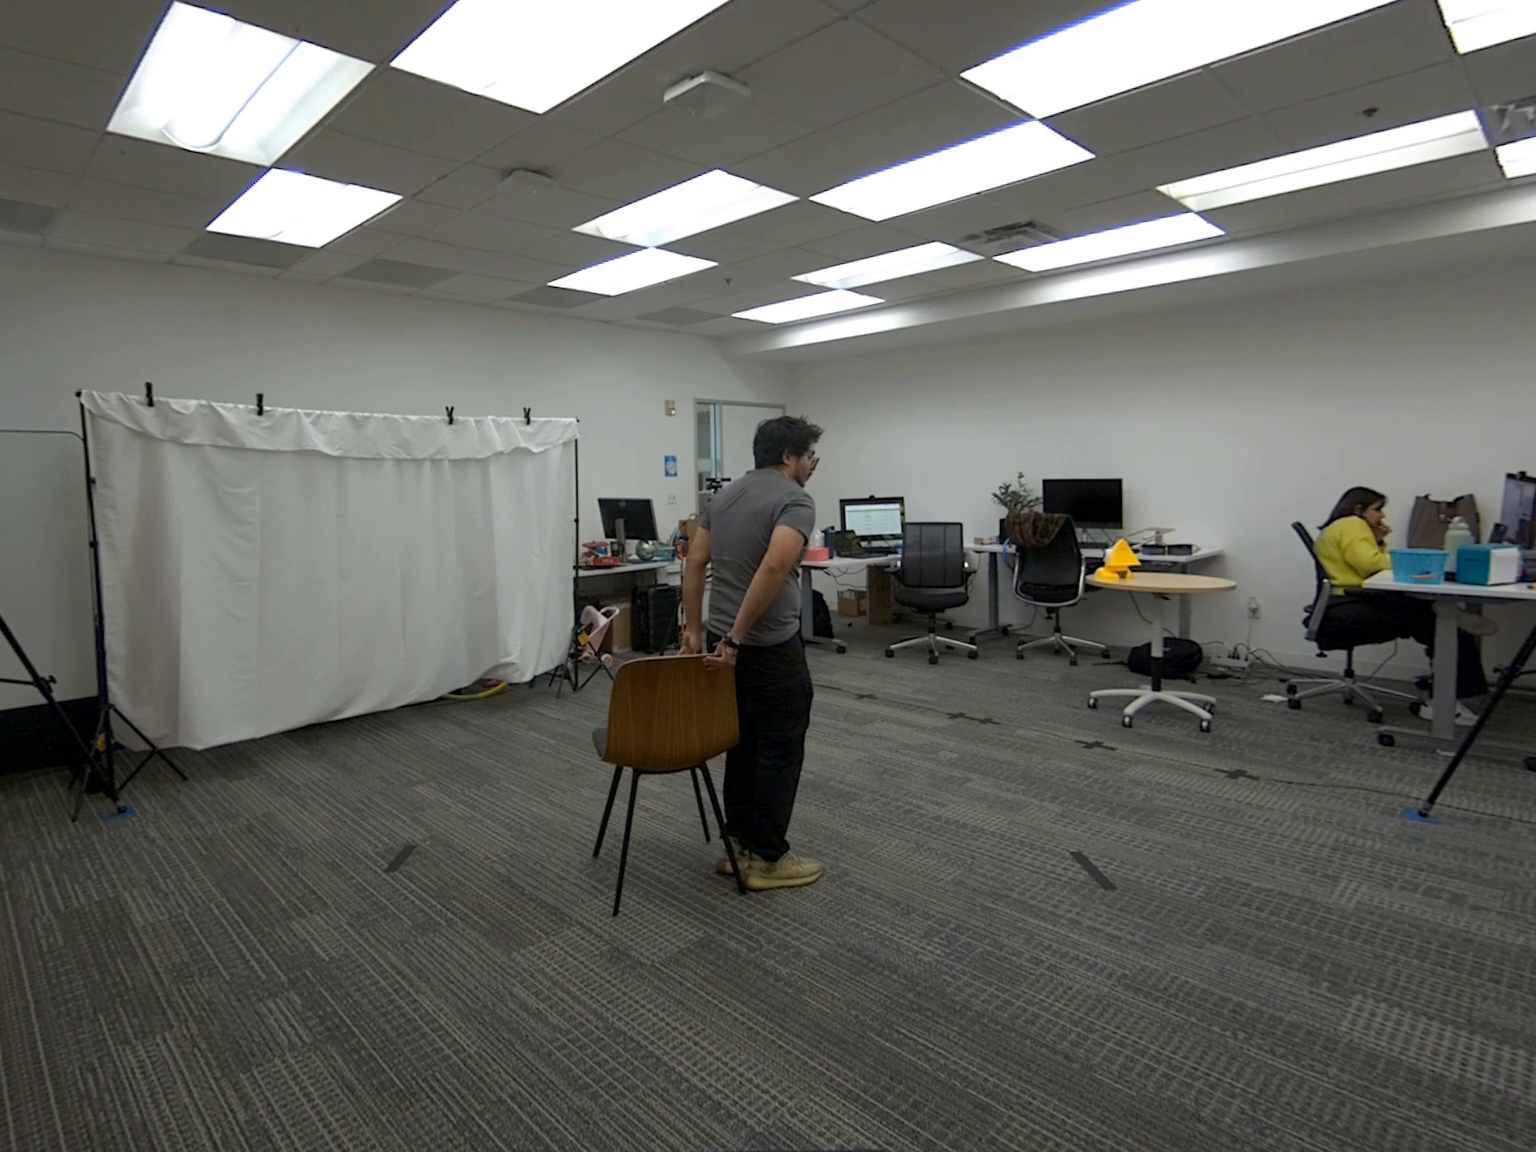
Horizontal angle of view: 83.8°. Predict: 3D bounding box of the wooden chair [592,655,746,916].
[{"bbox_3d":[-0.369,0.638,2.985,0.470,0.870,0.536,-2,9,-19],"label":"wooden chair"}]
